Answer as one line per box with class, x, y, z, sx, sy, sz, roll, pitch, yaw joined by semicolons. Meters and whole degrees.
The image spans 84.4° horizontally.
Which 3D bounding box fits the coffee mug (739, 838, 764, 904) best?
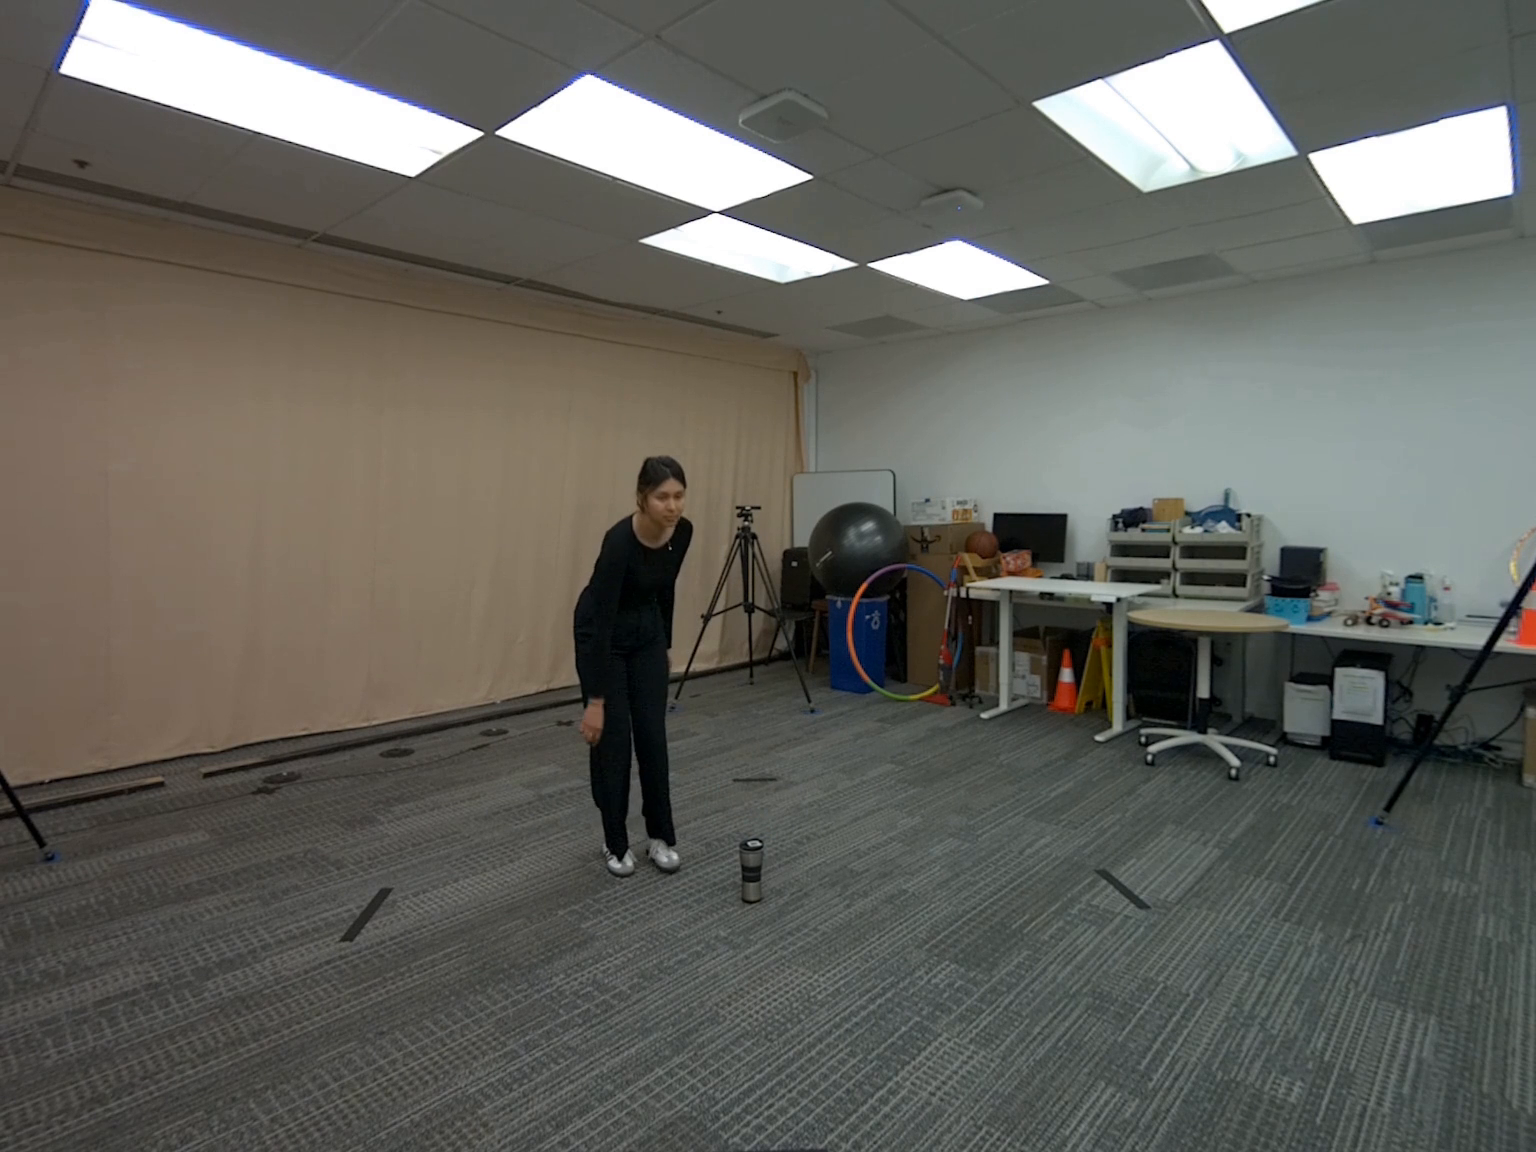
coffee mug;-0.042;1.049;2.966;0.085;0.203;0.125;2;-4;-37
